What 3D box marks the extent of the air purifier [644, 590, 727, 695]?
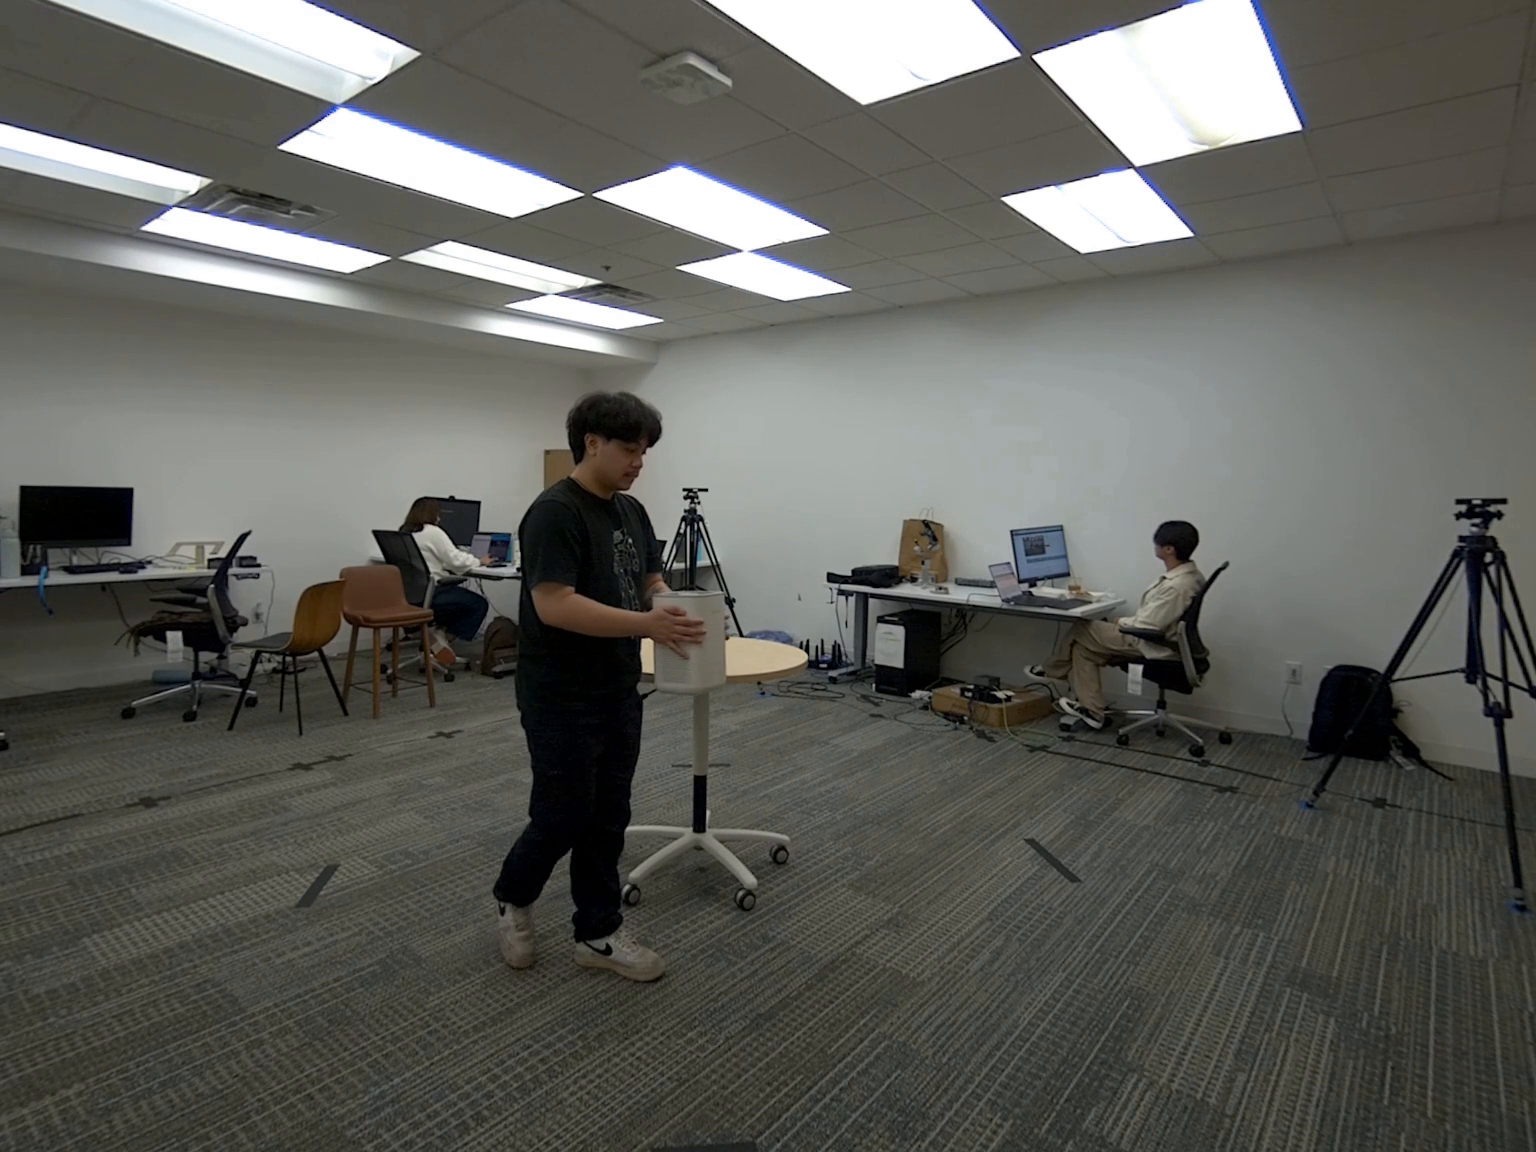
[{"bbox_3d":[-0.228,0.180,2.317,0.176,0.265,0.166,-2,0,32],"label":"air purifier"}]
